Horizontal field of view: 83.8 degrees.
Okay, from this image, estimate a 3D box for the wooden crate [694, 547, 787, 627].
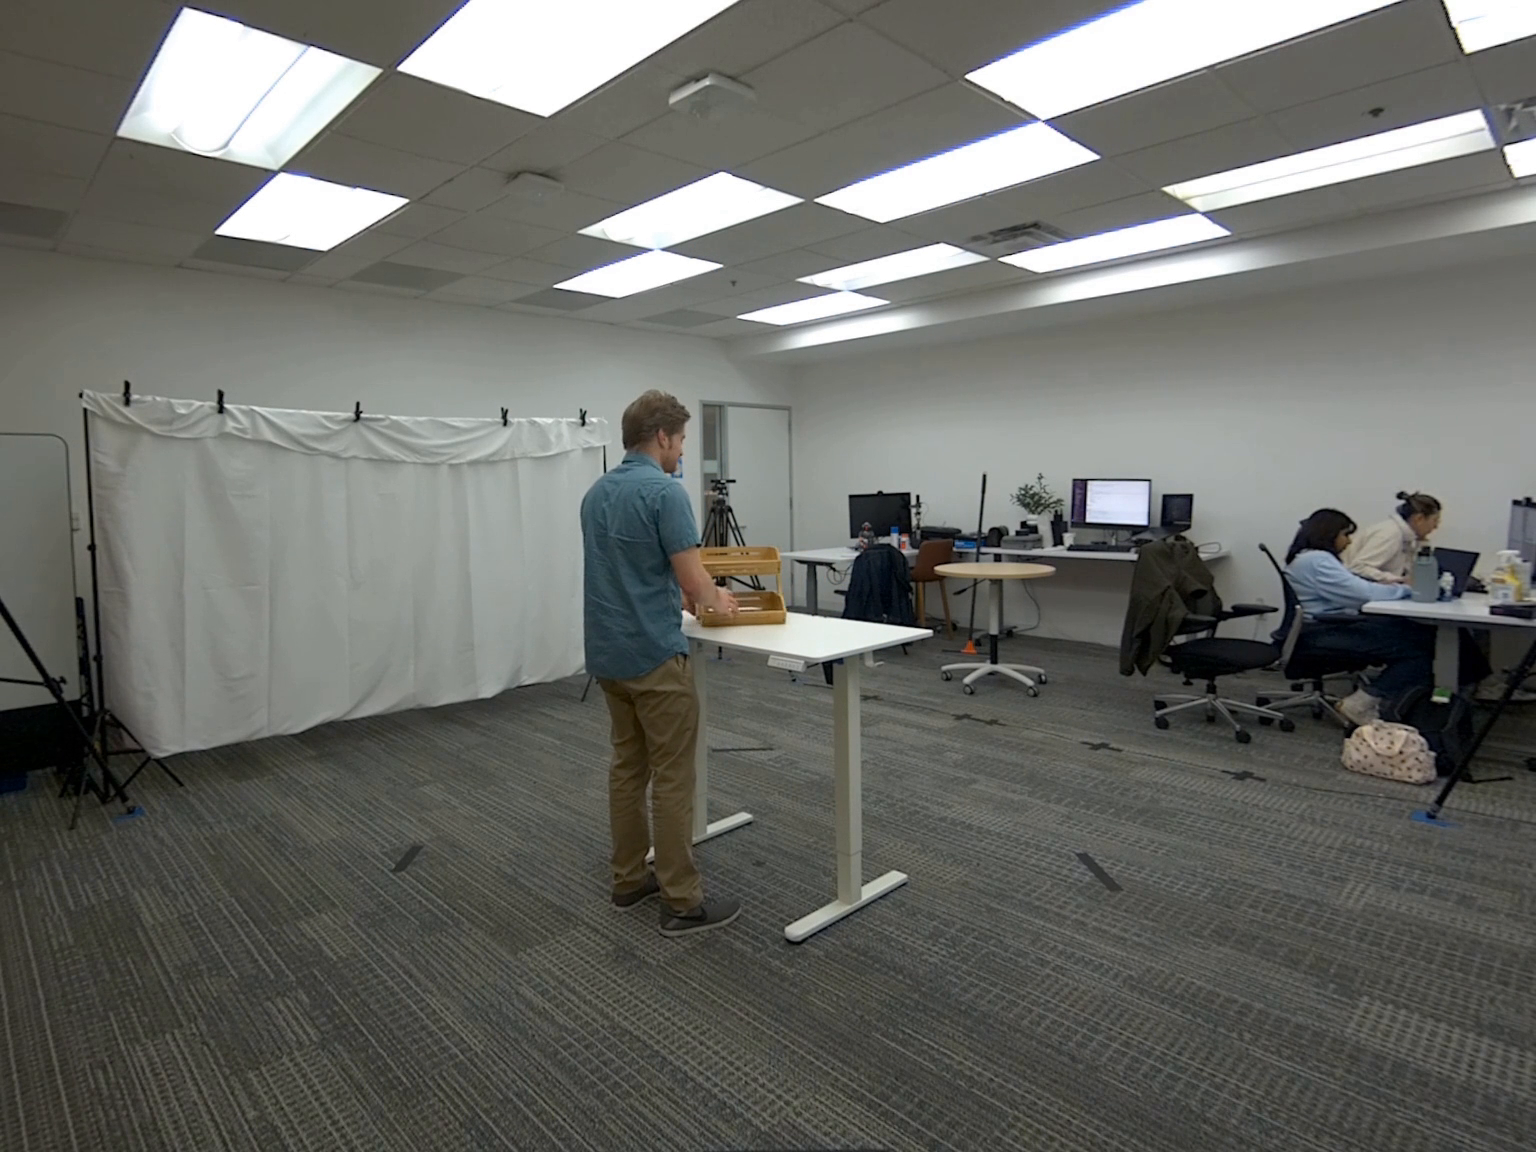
[{"bbox_3d":[-0.108,0.031,3.146,0.322,0.272,0.305,-2,4,-8],"label":"wooden crate"}]
